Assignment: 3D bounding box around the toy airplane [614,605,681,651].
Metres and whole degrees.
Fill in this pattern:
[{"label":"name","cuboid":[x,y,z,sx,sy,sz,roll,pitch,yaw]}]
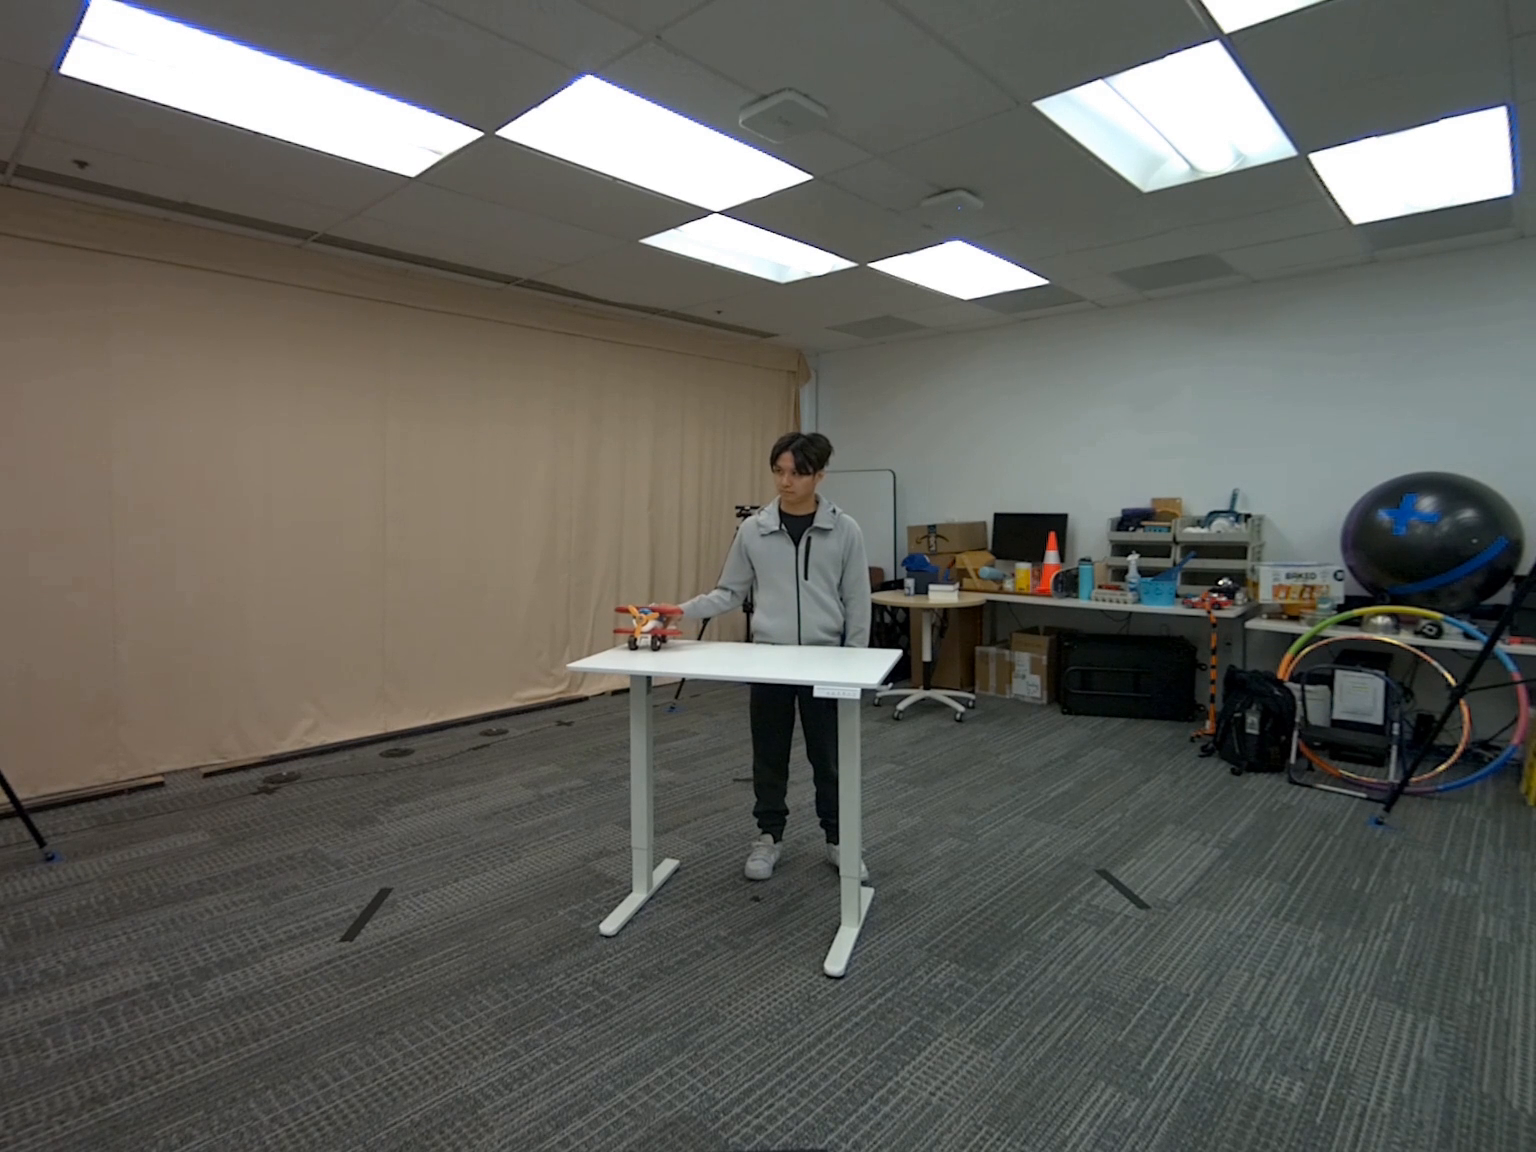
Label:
[{"label":"toy airplane","cuboid":[-0.450,0.184,3.072,0.247,0.156,0.264,-1,4,-18]}]
